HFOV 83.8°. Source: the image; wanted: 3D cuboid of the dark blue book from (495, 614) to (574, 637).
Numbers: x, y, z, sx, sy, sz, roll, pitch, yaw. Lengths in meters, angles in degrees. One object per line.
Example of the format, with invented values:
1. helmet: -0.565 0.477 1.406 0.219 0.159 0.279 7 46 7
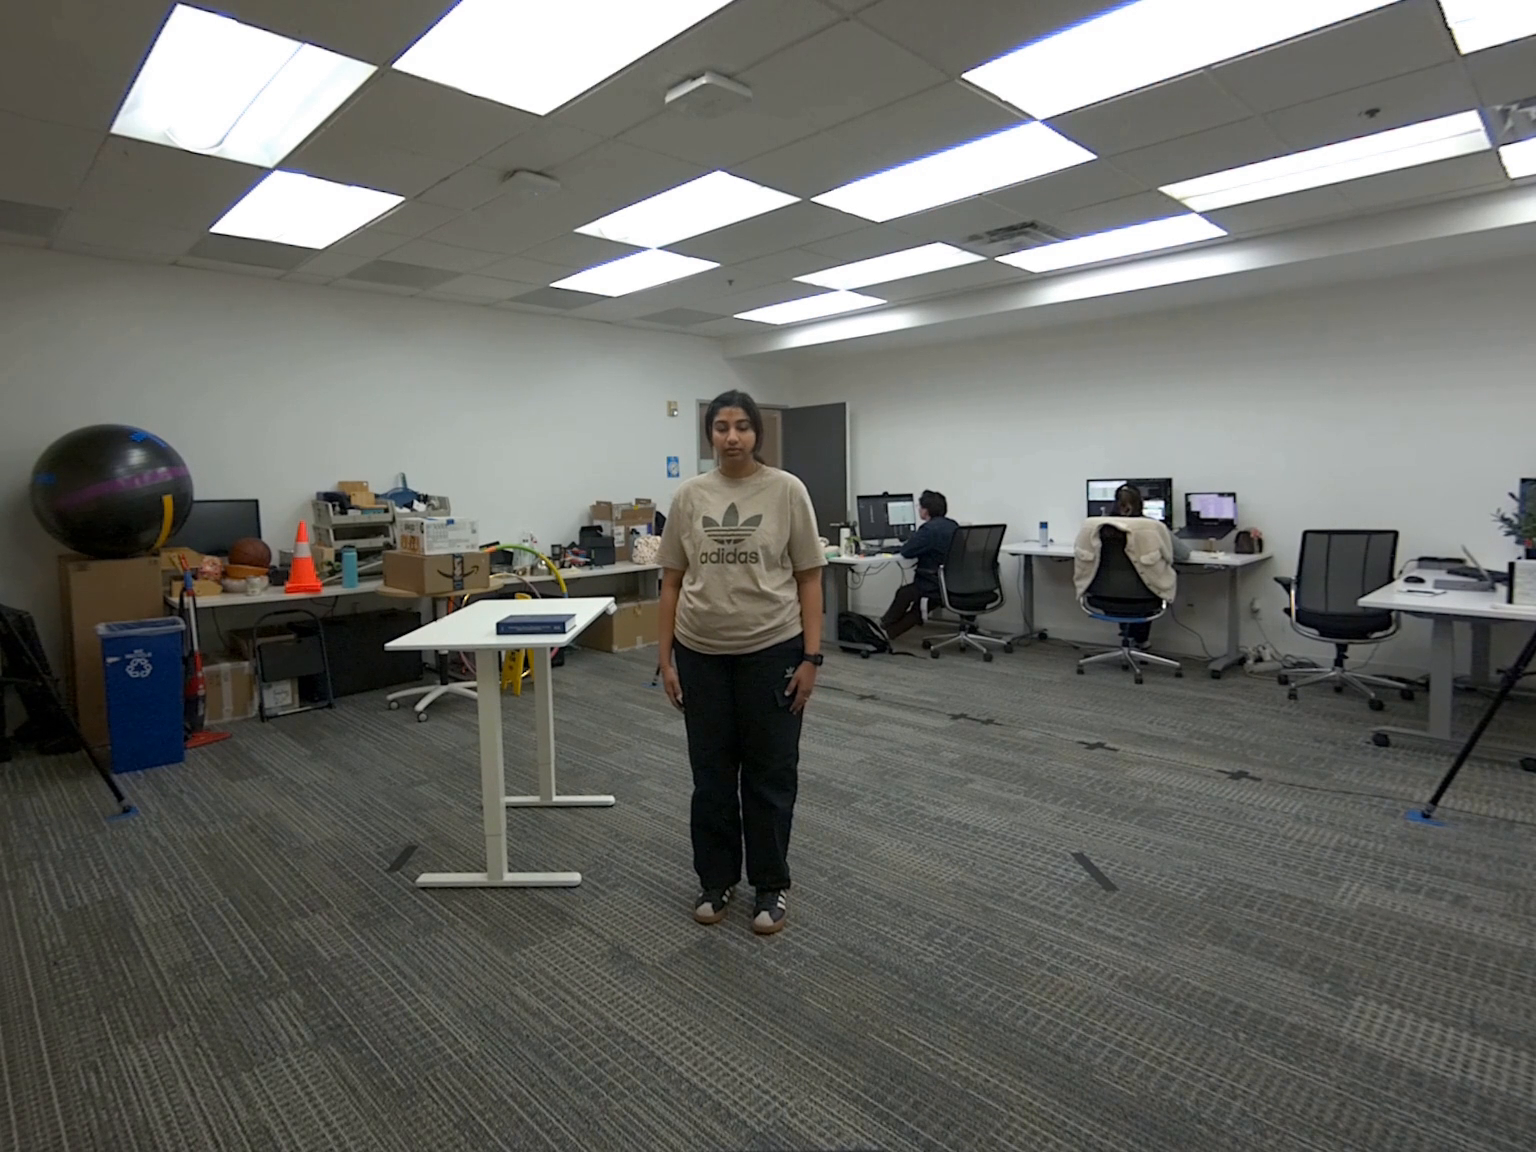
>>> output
1. dark blue book: -0.822 0.171 2.996 0.246 0.045 0.163 -2 6 4
